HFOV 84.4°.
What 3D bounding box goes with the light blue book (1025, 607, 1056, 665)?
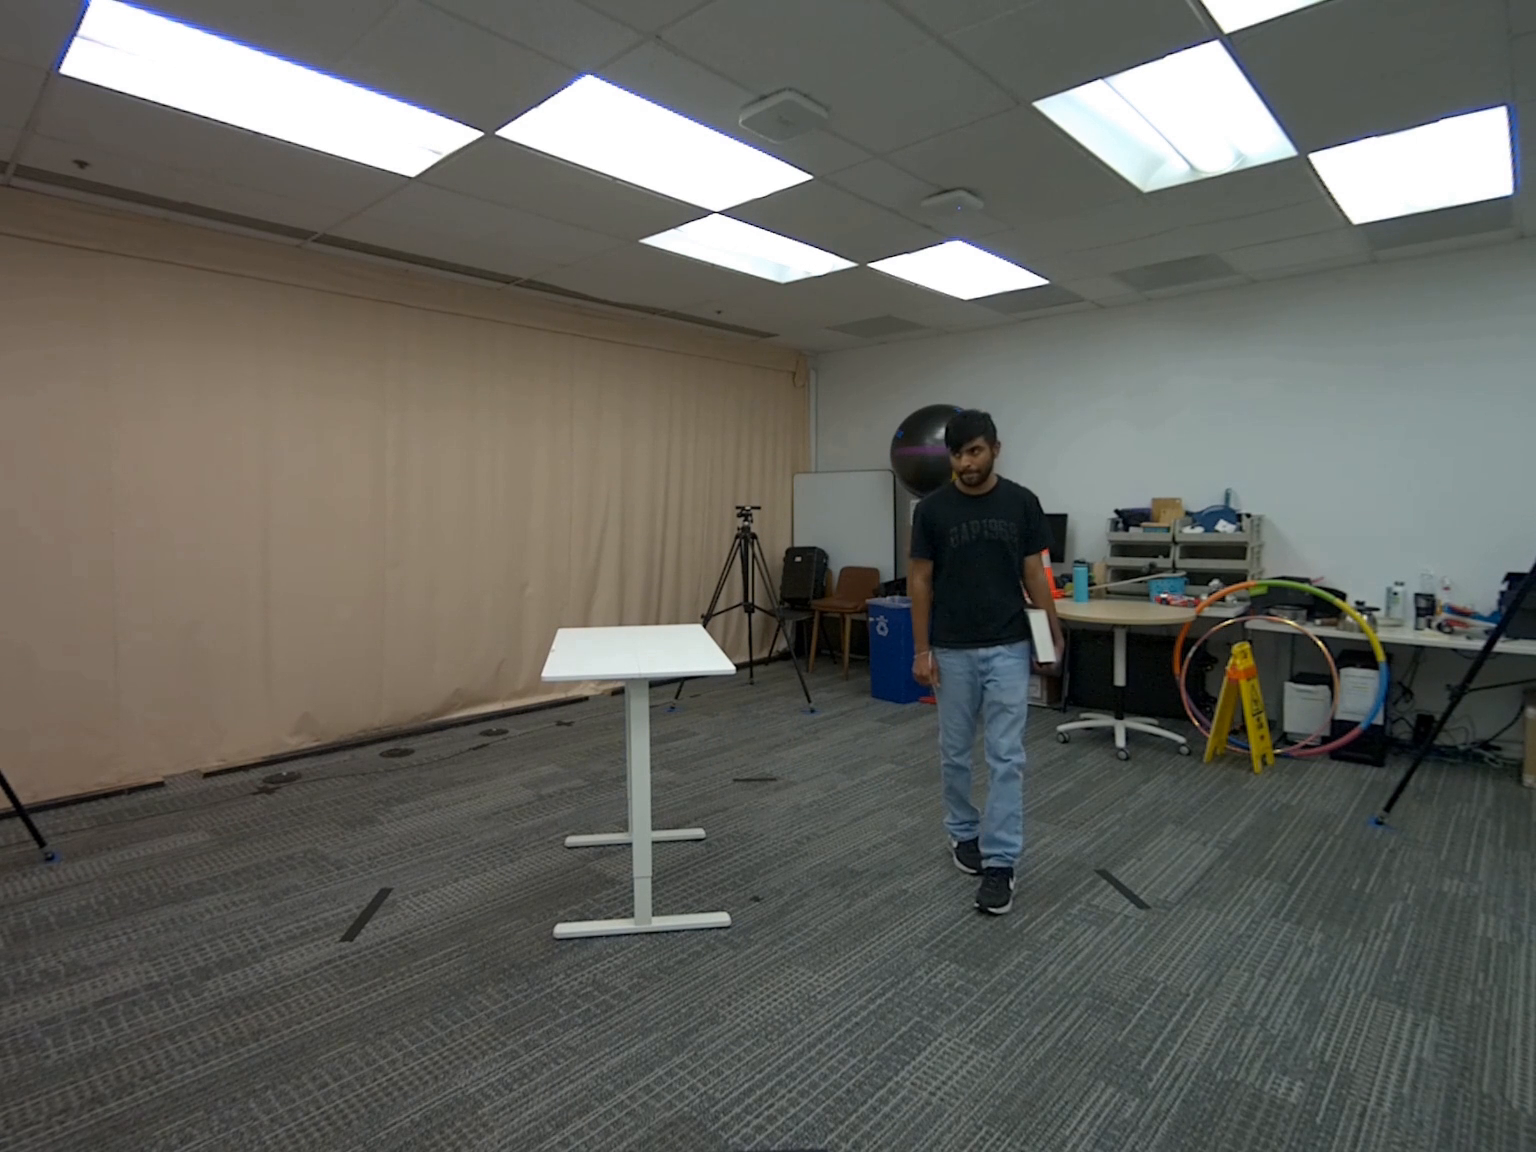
[{"bbox_3d":[0.989,0.218,3.101,0.059,0.192,0.258,-10,-4,7],"label":"light blue book"}]
